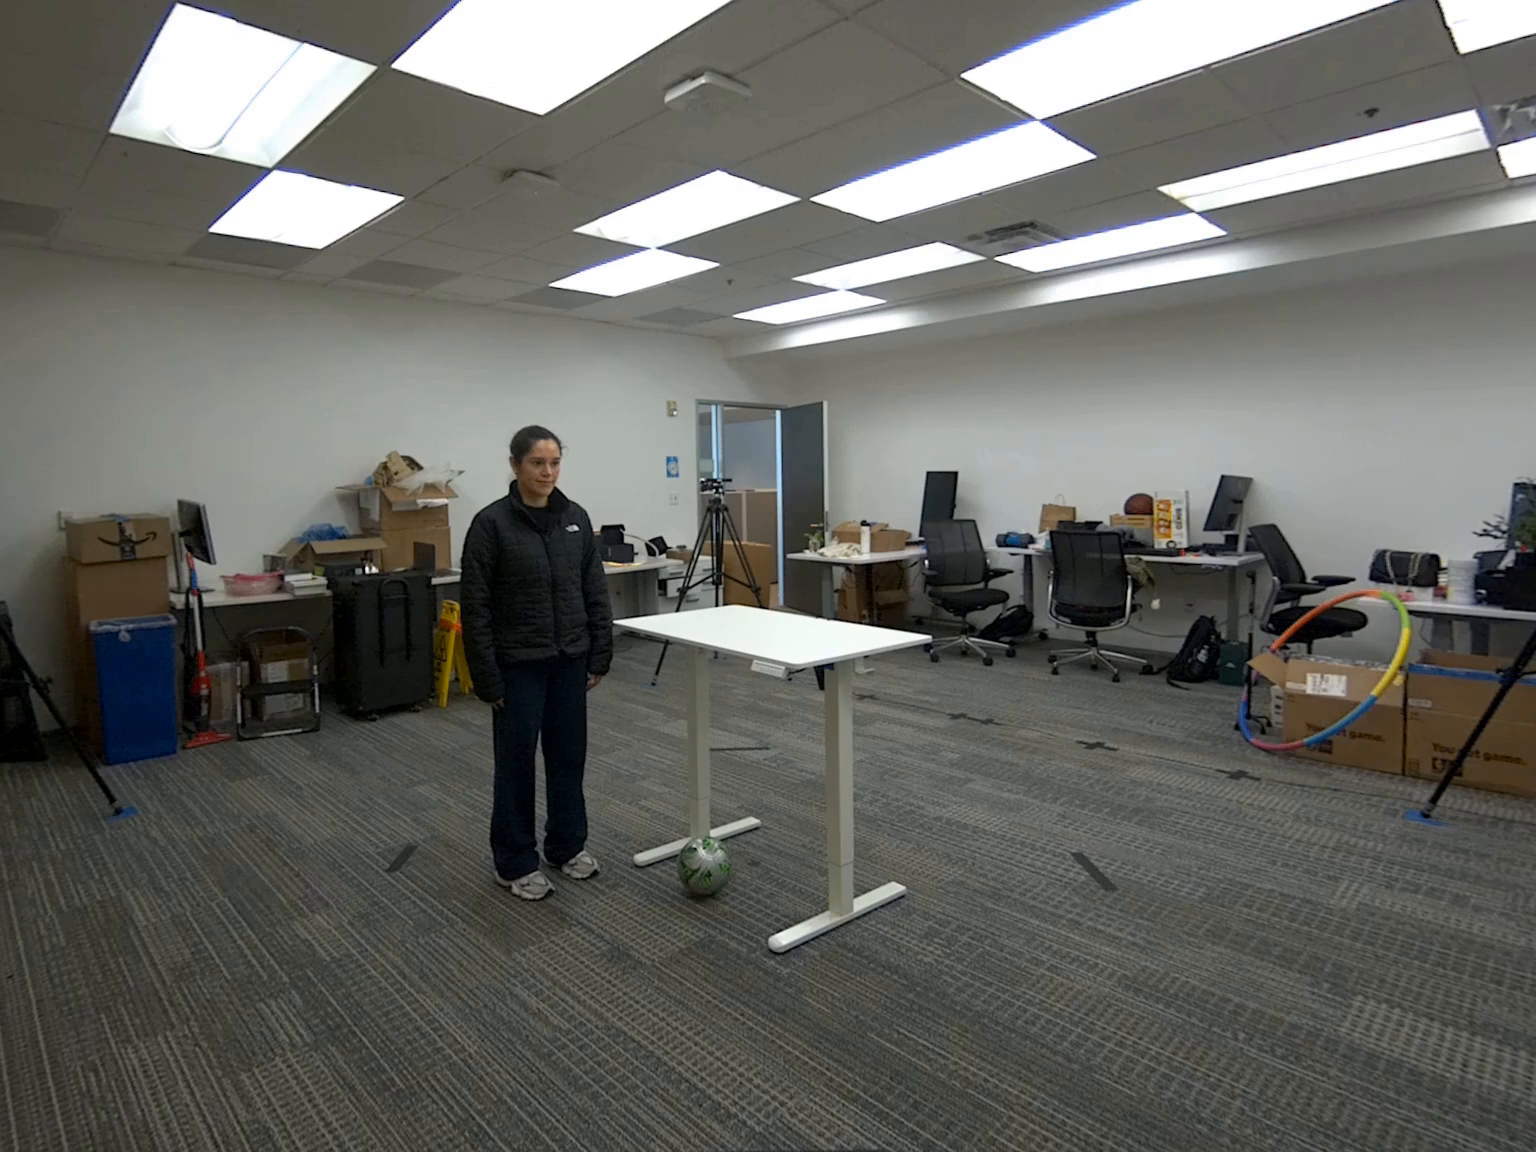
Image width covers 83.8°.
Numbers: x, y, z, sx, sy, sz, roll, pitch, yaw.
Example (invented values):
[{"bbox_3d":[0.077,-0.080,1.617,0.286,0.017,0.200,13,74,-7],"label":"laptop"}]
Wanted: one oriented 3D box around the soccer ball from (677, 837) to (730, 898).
[{"bbox_3d":[-0.215,0.972,2.890,0.187,0.187,0.188,-1,5,-2],"label":"soccer ball"}]
